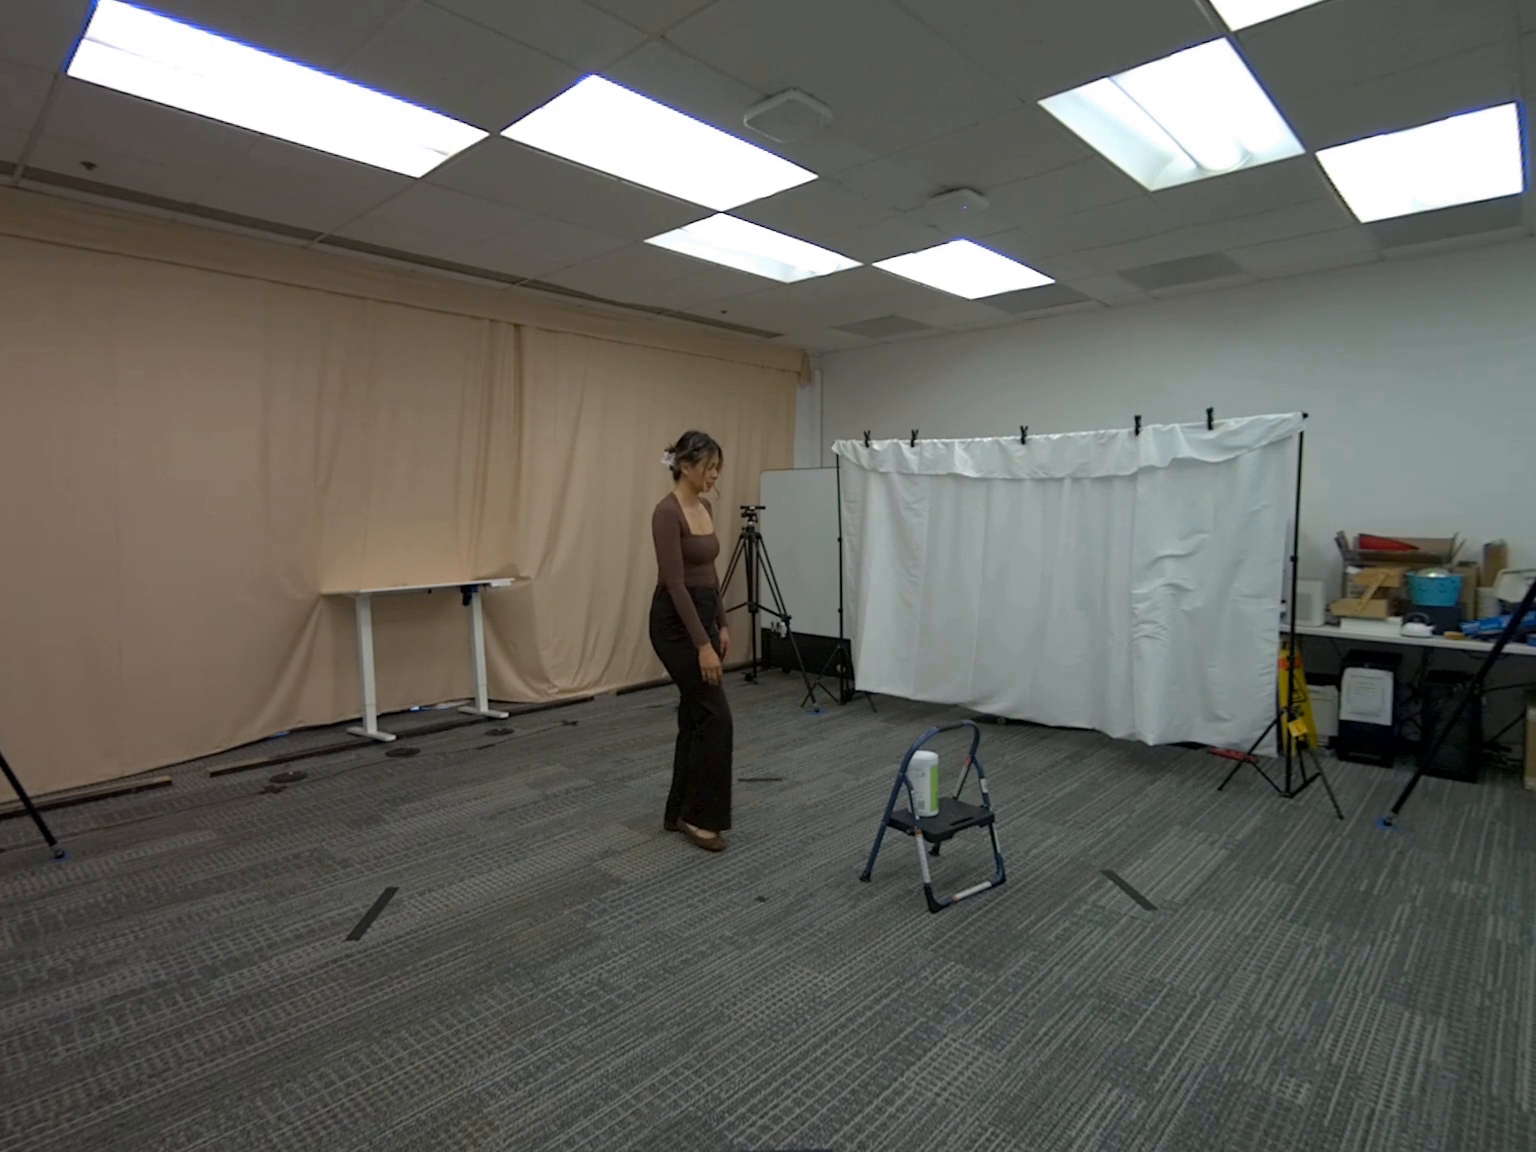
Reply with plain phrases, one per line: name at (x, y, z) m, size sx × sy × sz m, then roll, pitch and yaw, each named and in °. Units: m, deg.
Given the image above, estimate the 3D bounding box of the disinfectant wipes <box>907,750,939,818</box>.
disinfectant wipes at (0.584, 0.768, 3.096) m, size 0.118 × 0.217 × 0.118 m, roll 1°, pitch 1°, yaw -2°
